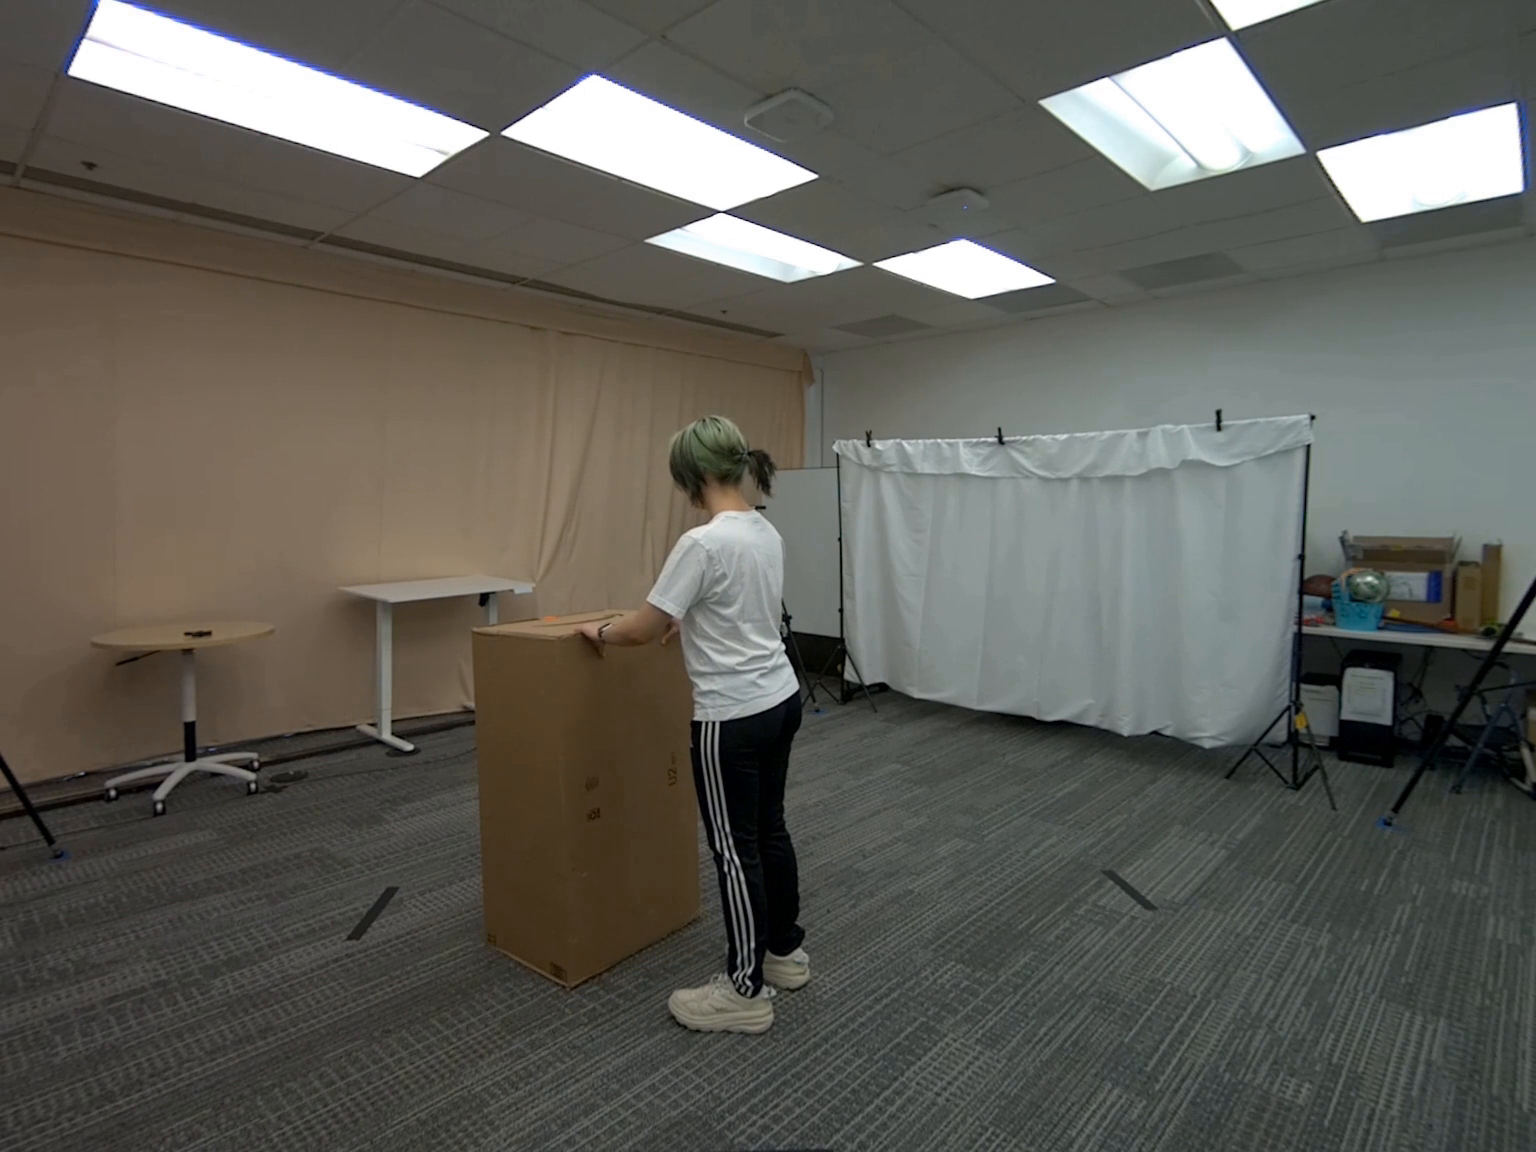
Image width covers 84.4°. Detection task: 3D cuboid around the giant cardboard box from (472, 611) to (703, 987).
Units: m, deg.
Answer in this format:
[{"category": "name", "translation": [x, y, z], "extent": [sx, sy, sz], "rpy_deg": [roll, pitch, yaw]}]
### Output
[{"category": "giant cardboard box", "translation": [-0.585, 0.661, 2.755], "extent": [0.461, 1.025, 0.566], "rpy_deg": [1, 4, 38]}]
